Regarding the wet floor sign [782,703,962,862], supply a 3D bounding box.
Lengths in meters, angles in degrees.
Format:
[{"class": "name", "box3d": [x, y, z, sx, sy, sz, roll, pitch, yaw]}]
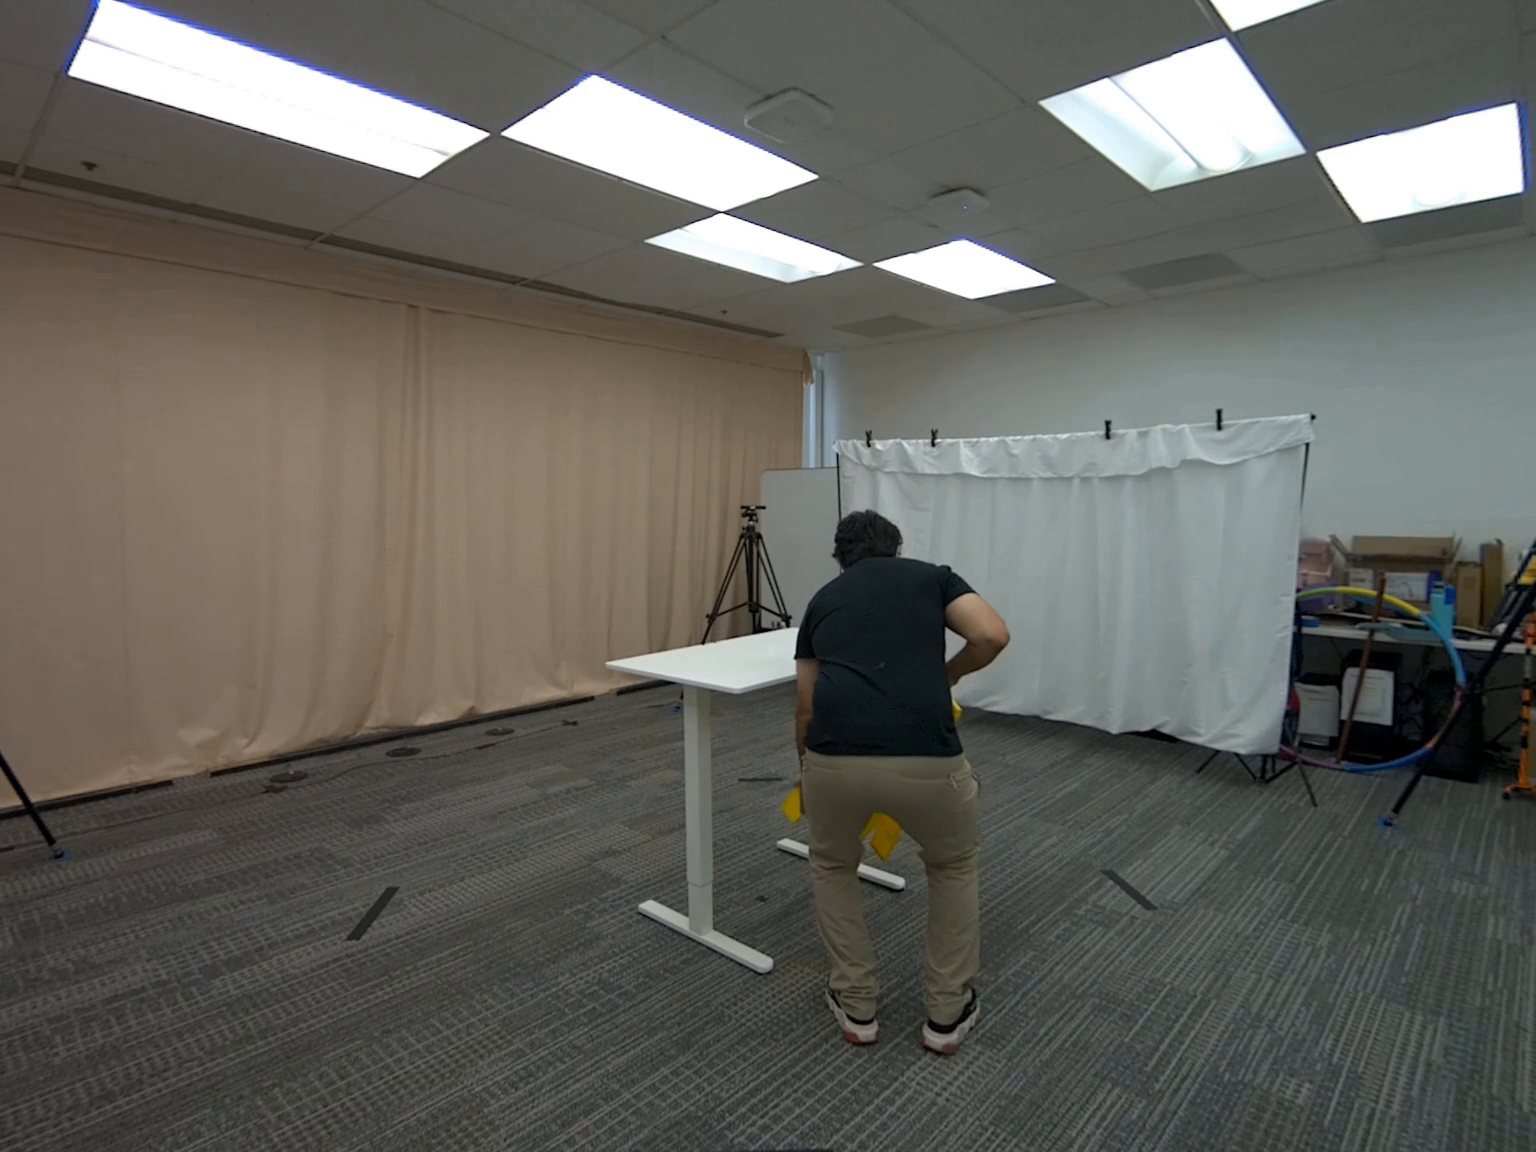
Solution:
[{"class": "wet floor sign", "box3d": [0.351, 0.575, 2.562, 0.280, 0.645, 0.292, 4, 35, -43]}]
